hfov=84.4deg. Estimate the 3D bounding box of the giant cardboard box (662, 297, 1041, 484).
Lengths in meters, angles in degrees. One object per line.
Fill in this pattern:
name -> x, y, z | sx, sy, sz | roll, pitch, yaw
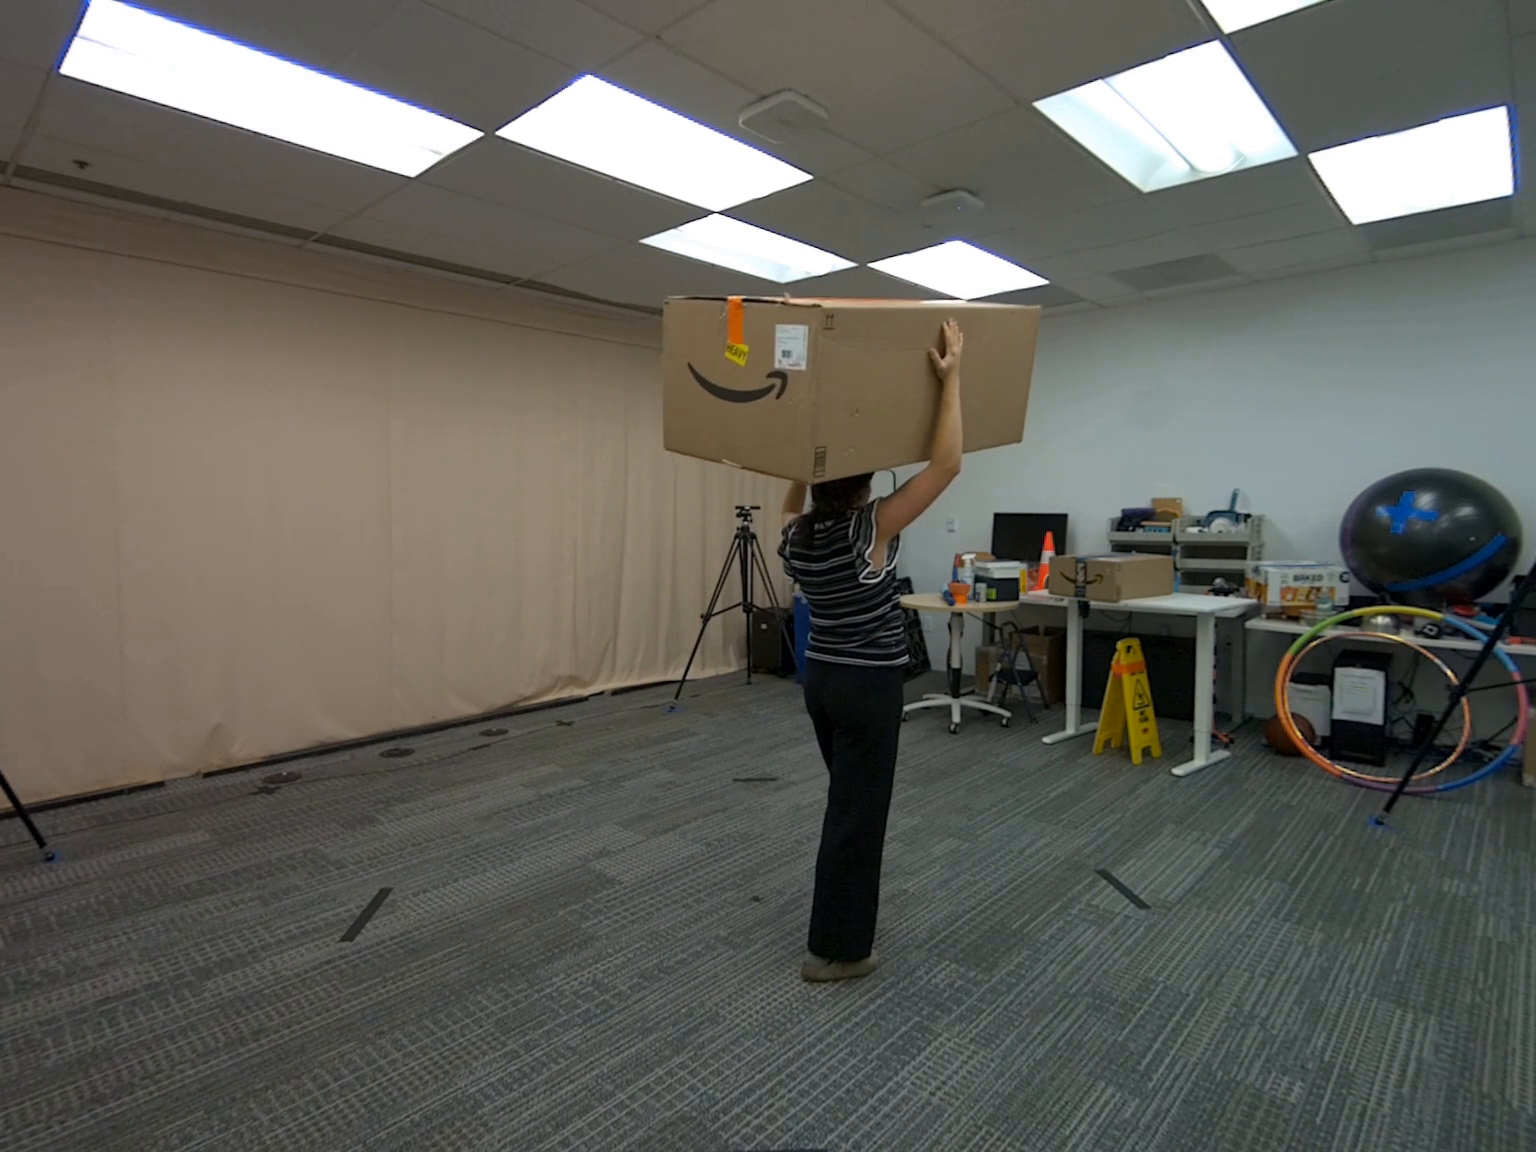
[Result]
giant cardboard box -> 0.271, -0.593, 2.508 | 0.999, 0.422, 0.599 | -16, 25, -41
